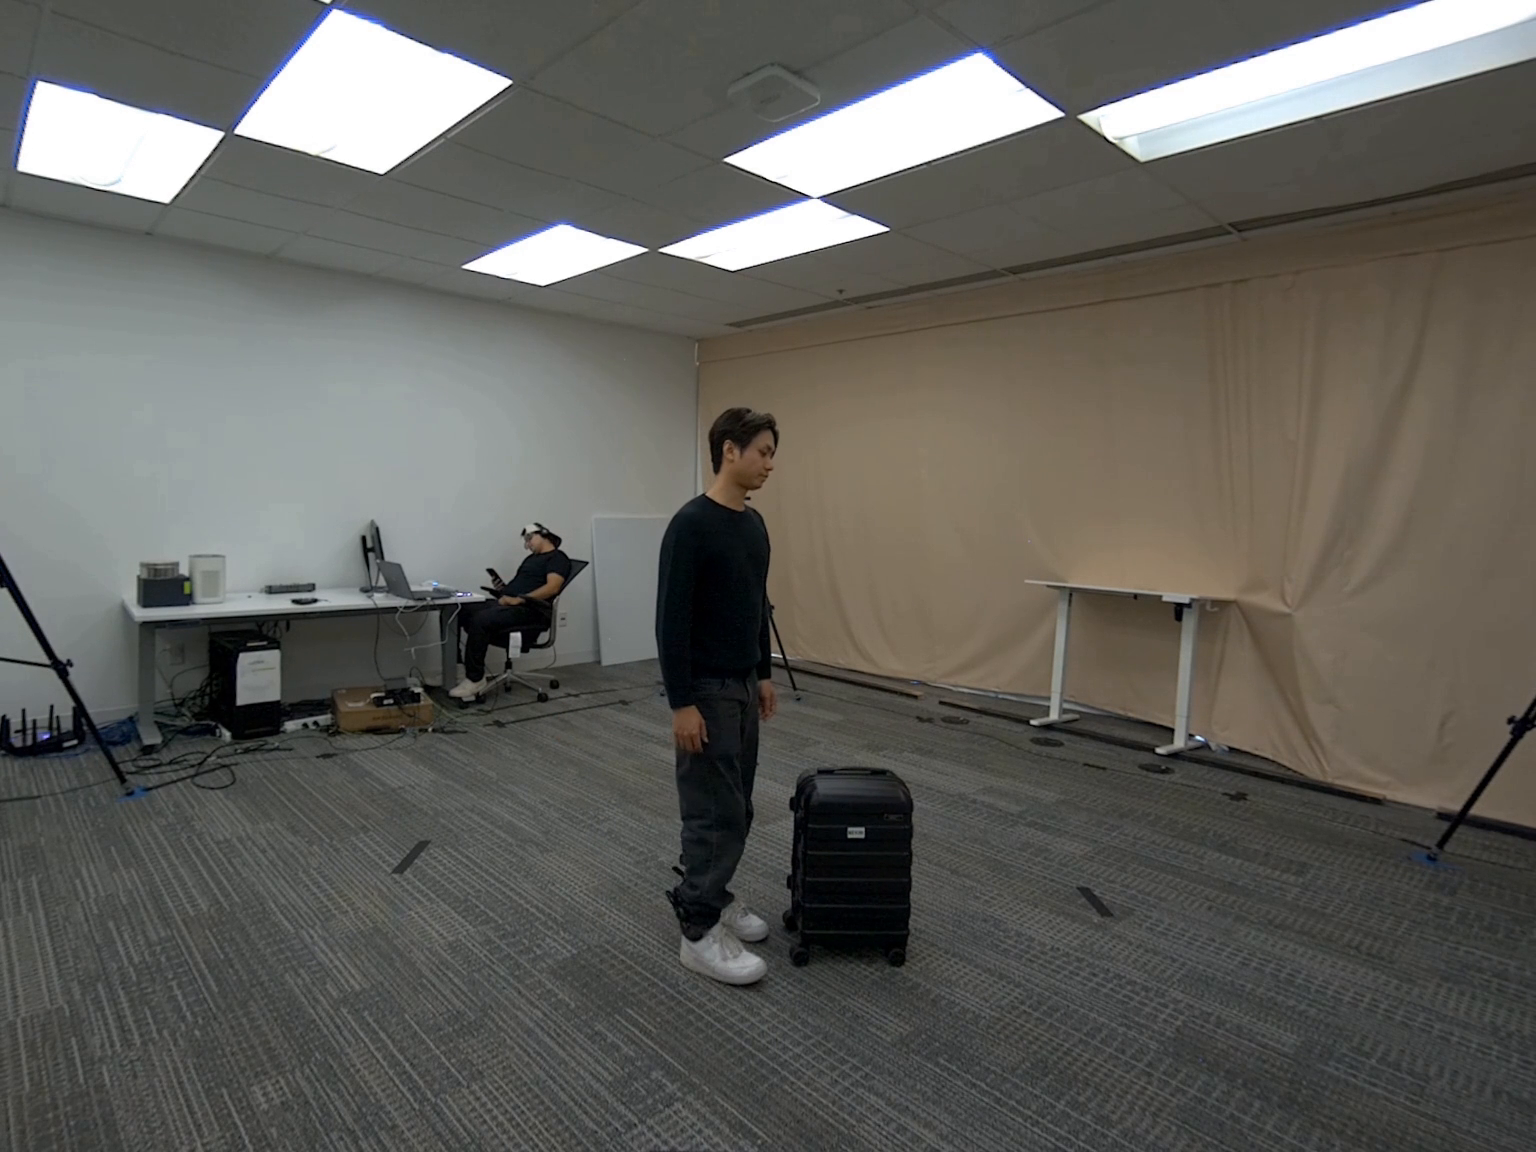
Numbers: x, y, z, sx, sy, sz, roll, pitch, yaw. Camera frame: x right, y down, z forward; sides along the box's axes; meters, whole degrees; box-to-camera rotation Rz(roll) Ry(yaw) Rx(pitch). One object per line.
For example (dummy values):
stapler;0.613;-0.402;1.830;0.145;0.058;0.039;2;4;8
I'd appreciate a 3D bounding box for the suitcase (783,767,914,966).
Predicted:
suitcase;0.257;0.887;2.620;0.374;0.548;0.249;2;4;-3
